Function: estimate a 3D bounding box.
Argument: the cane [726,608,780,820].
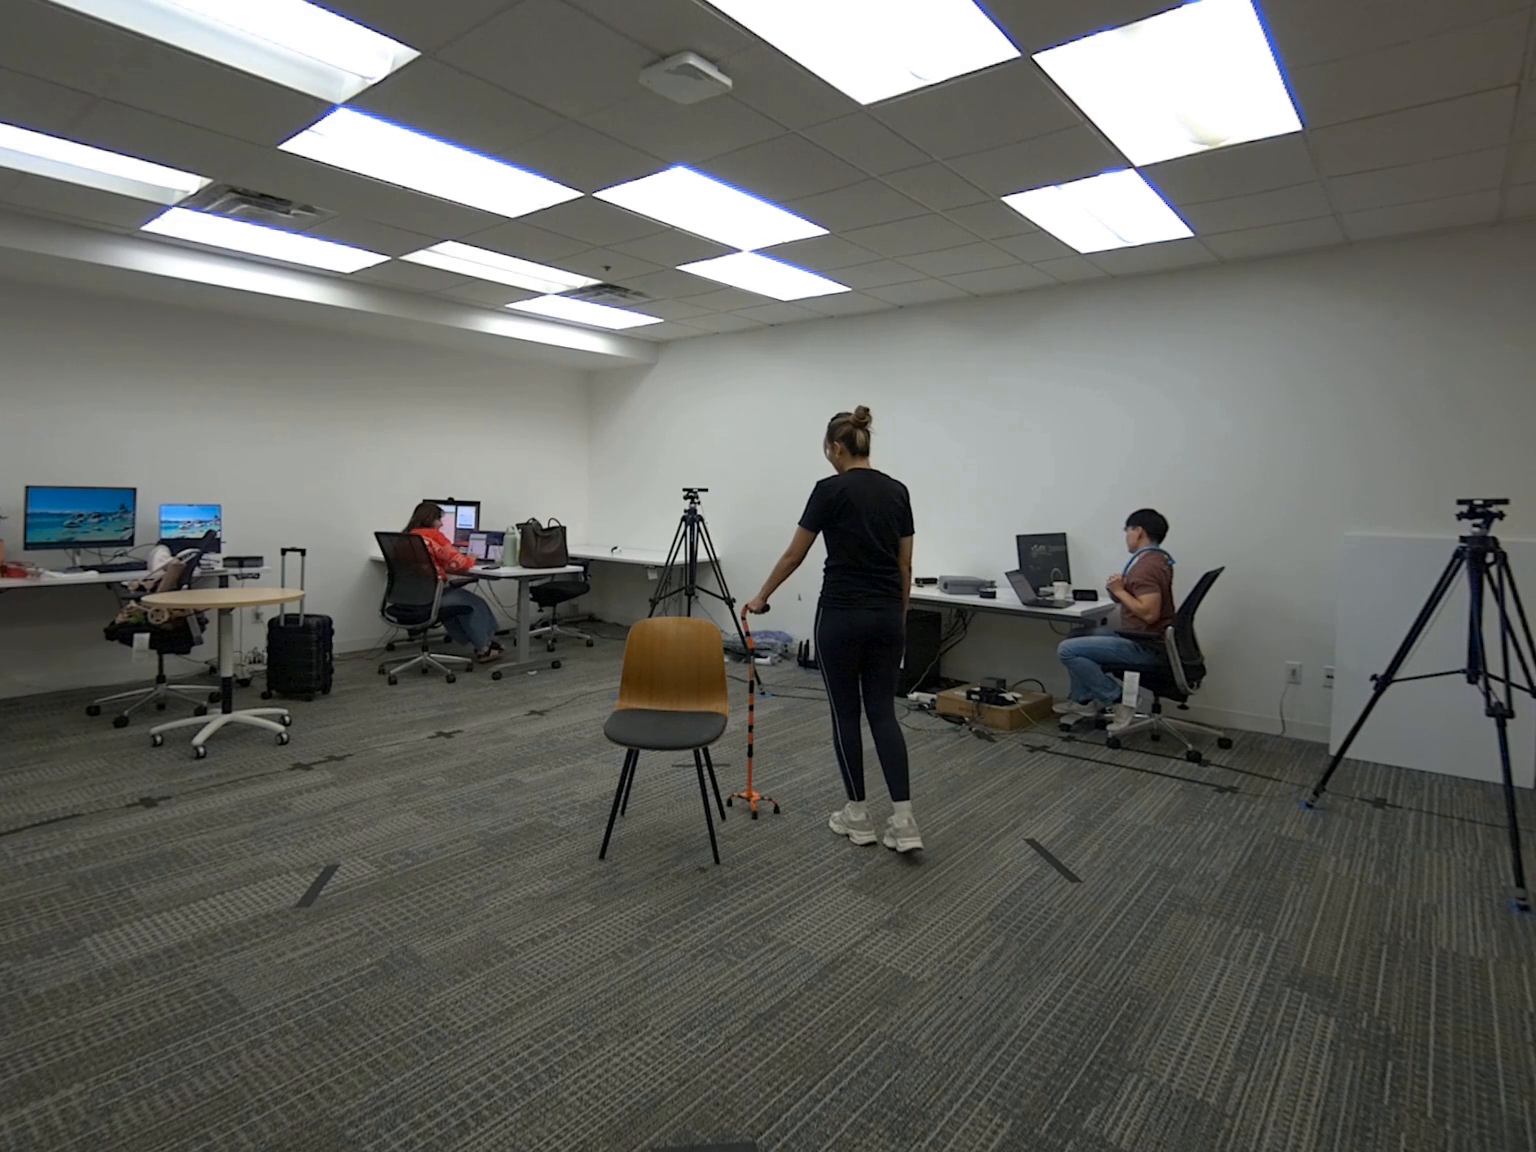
[{"bbox_3d":[-0.074,0.564,3.682,0.147,0.905,0.213,-3,4,-39],"label":"cane"}]
